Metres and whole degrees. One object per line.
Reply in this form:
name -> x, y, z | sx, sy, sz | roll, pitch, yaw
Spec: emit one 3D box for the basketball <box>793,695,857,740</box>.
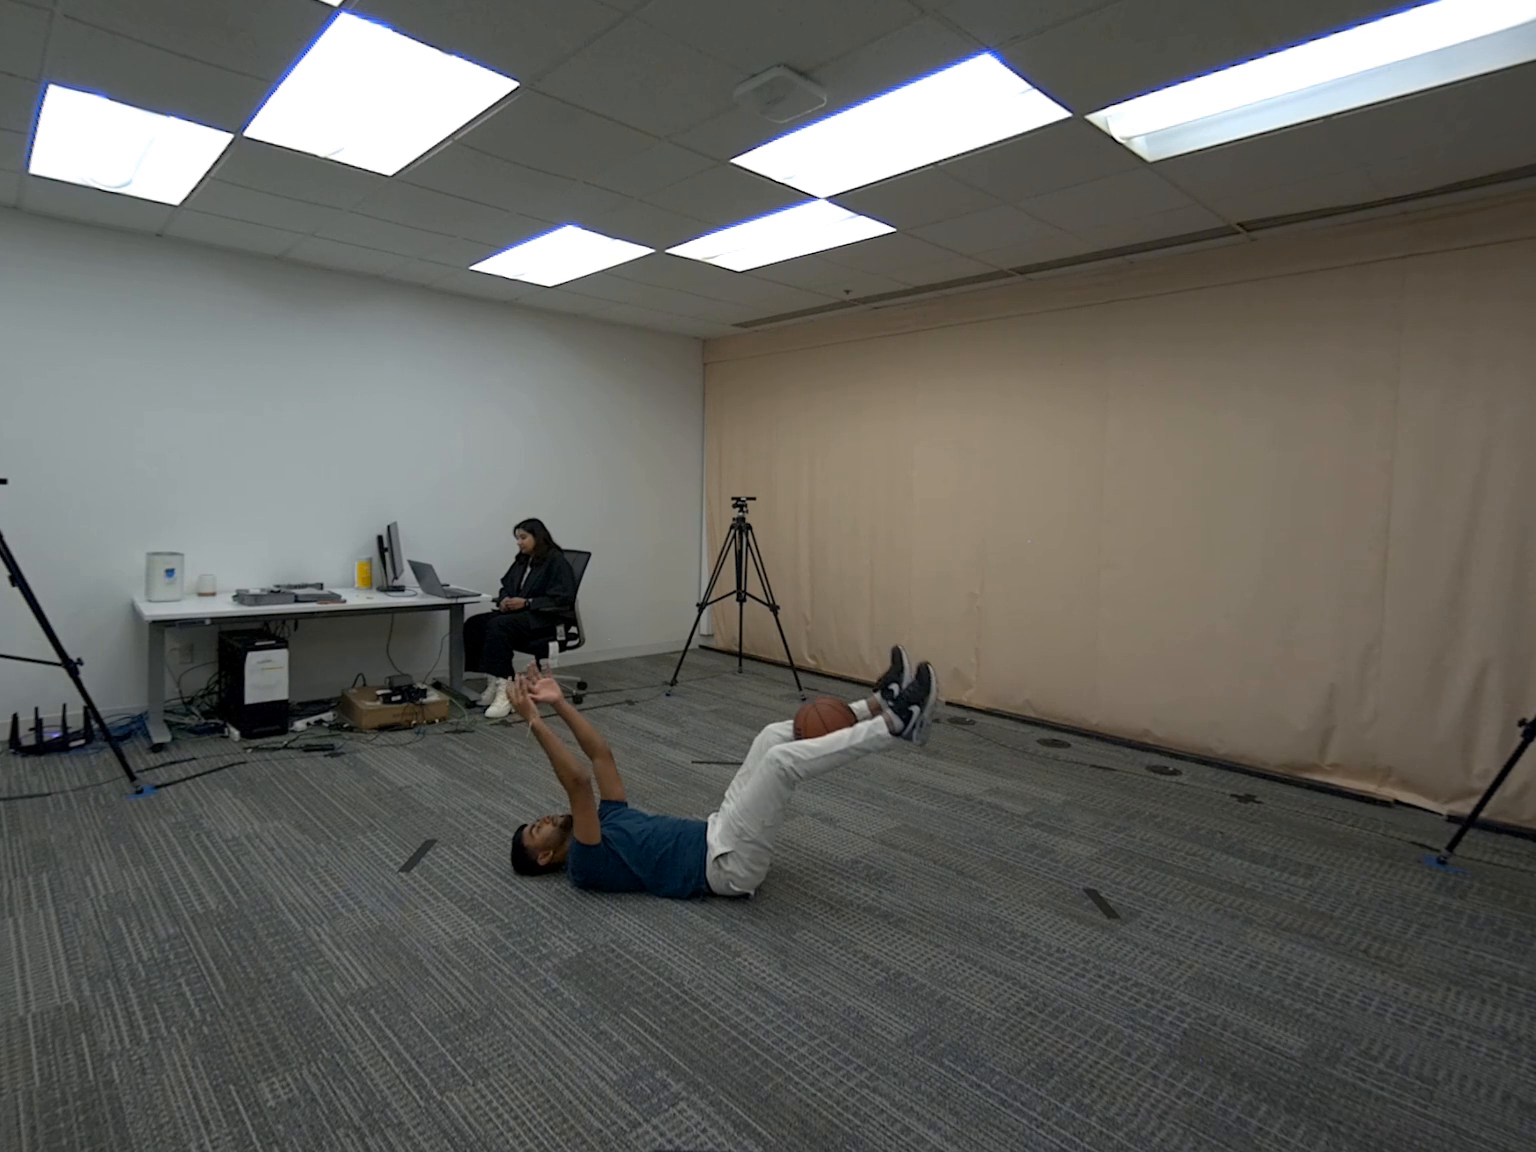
basketball -> 0.199, 0.555, 3.022 | 0.236, 0.235, 0.237 | 1, 4, -1
